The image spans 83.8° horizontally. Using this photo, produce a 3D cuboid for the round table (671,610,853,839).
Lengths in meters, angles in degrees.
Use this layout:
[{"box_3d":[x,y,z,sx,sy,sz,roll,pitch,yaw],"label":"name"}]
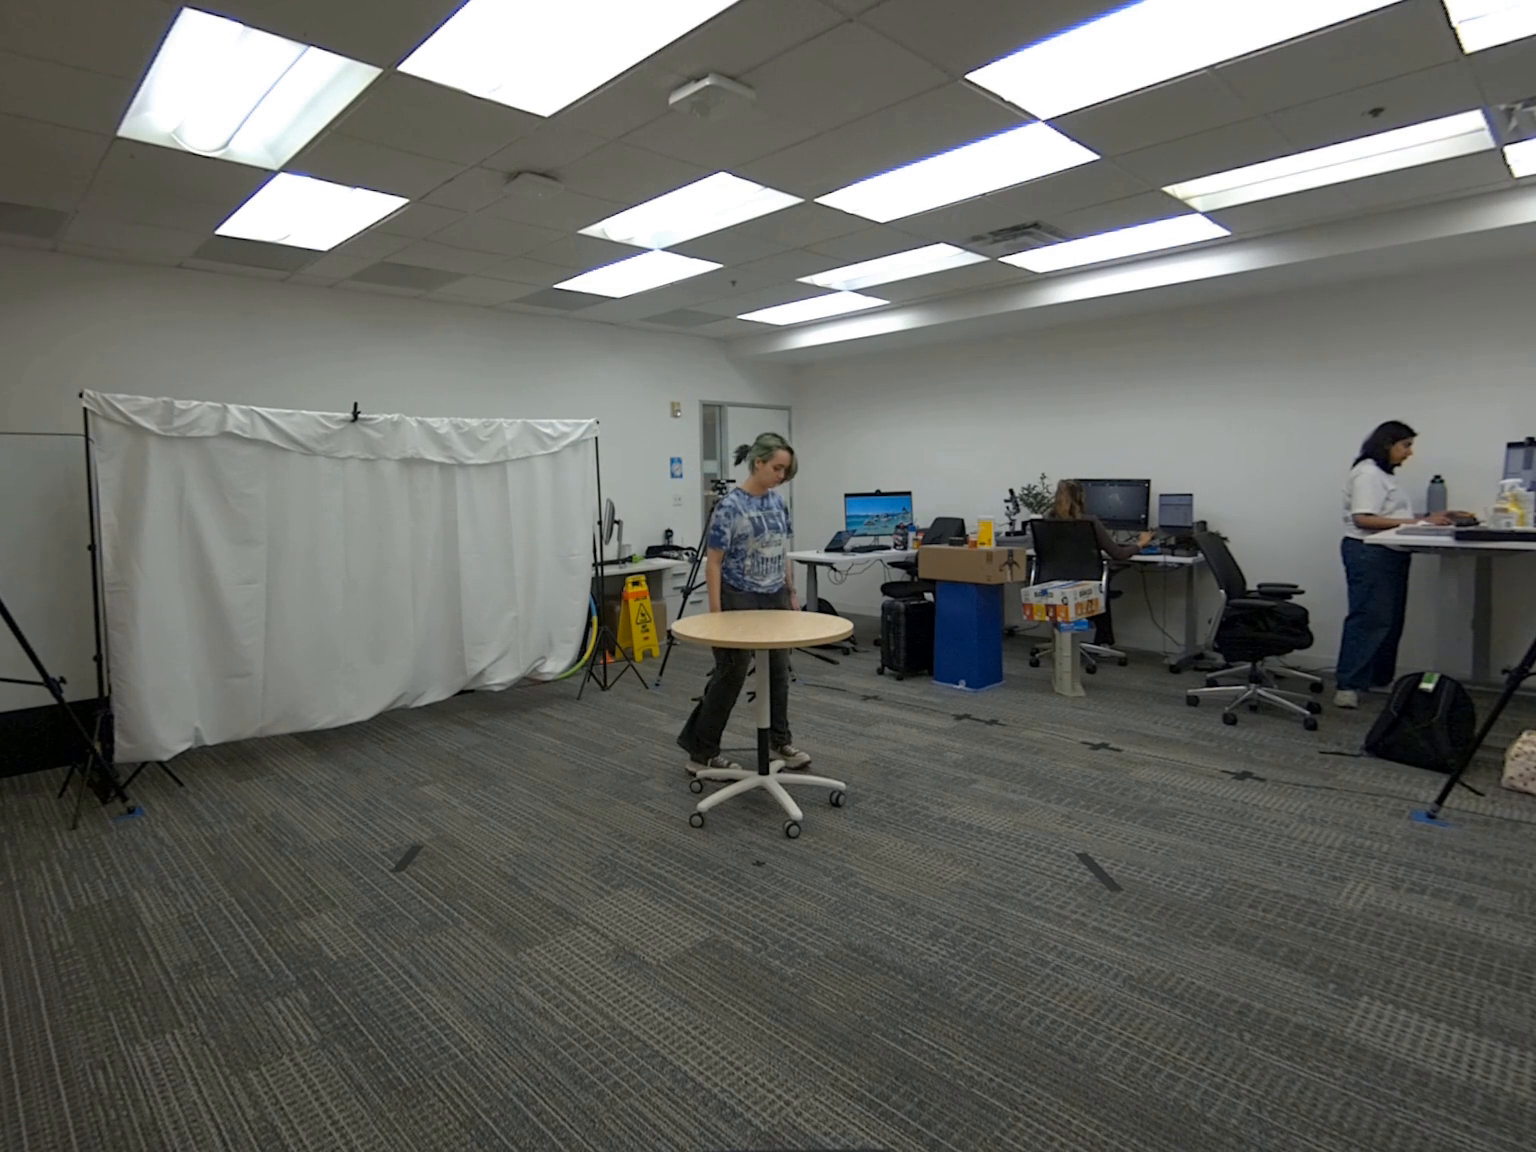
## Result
[{"box_3d":[-0.028,0.600,3.623,0.763,0.791,0.767,-1,4,-2],"label":"round table"}]
